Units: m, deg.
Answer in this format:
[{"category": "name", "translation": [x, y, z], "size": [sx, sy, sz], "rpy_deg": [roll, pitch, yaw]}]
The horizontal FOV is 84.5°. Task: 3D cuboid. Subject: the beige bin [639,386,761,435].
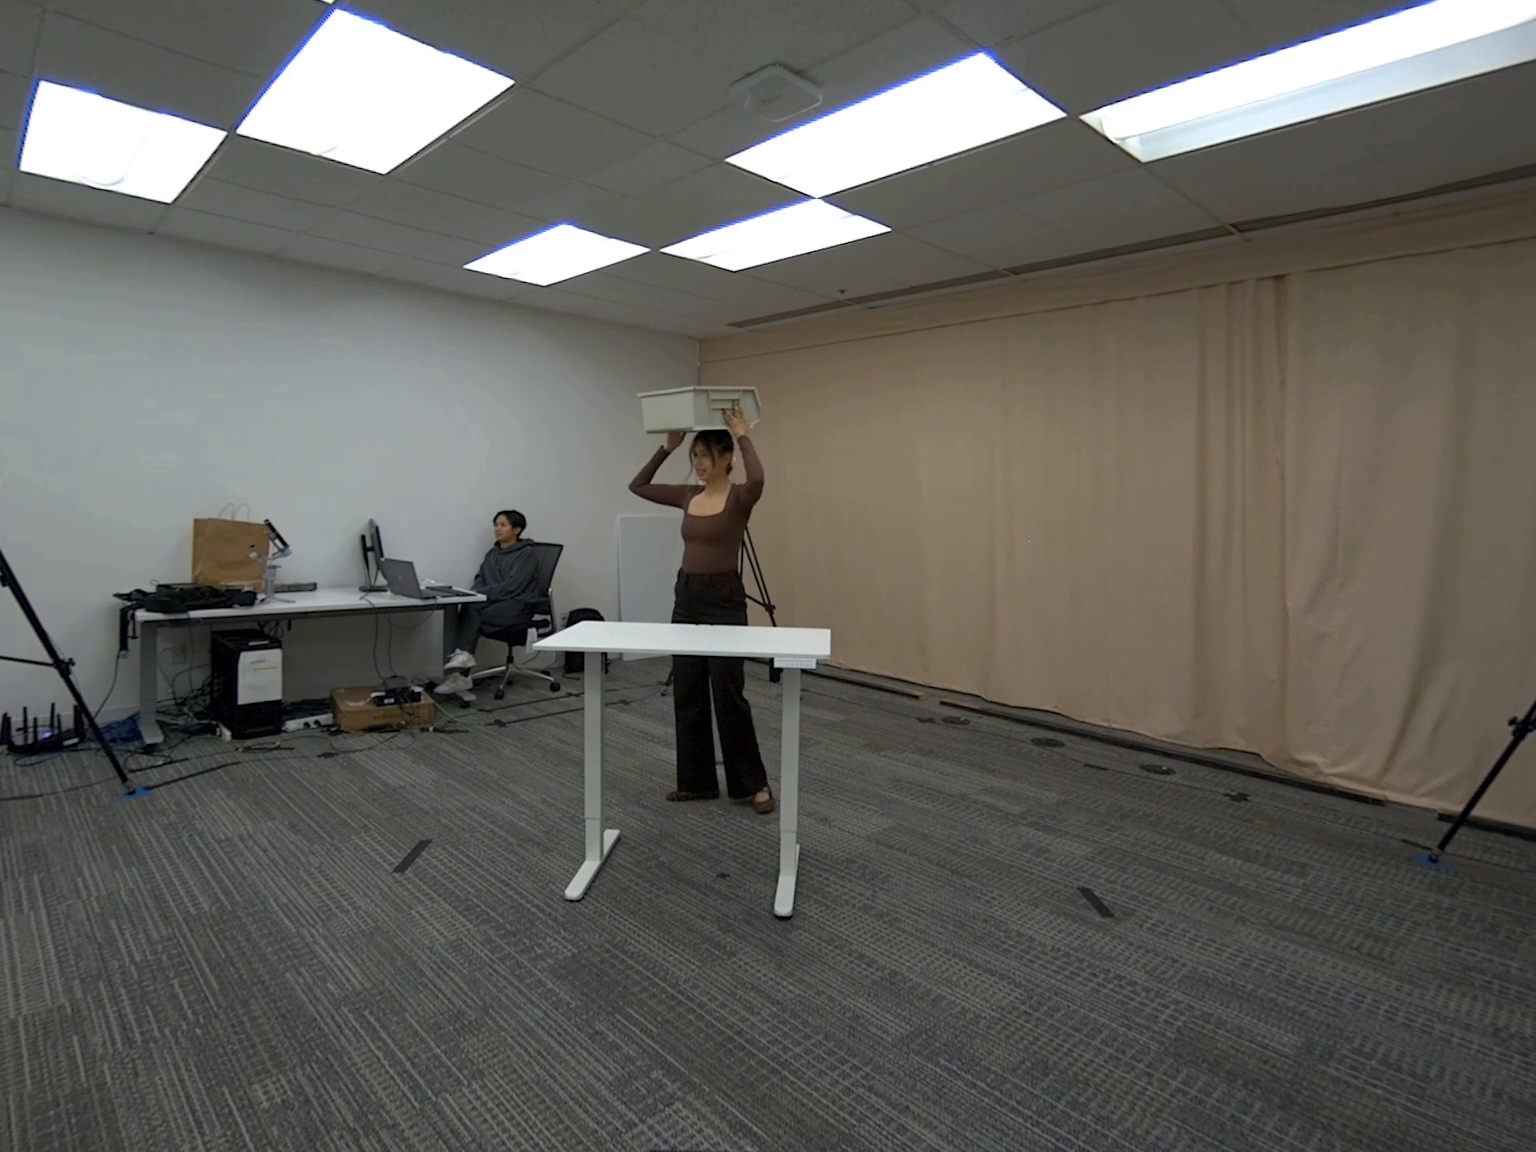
[{"category": "beige bin", "translation": [-0.309, -0.736, 3.753], "size": [0.370, 0.188, 0.433], "rpy_deg": [-10, 13, -39]}]
